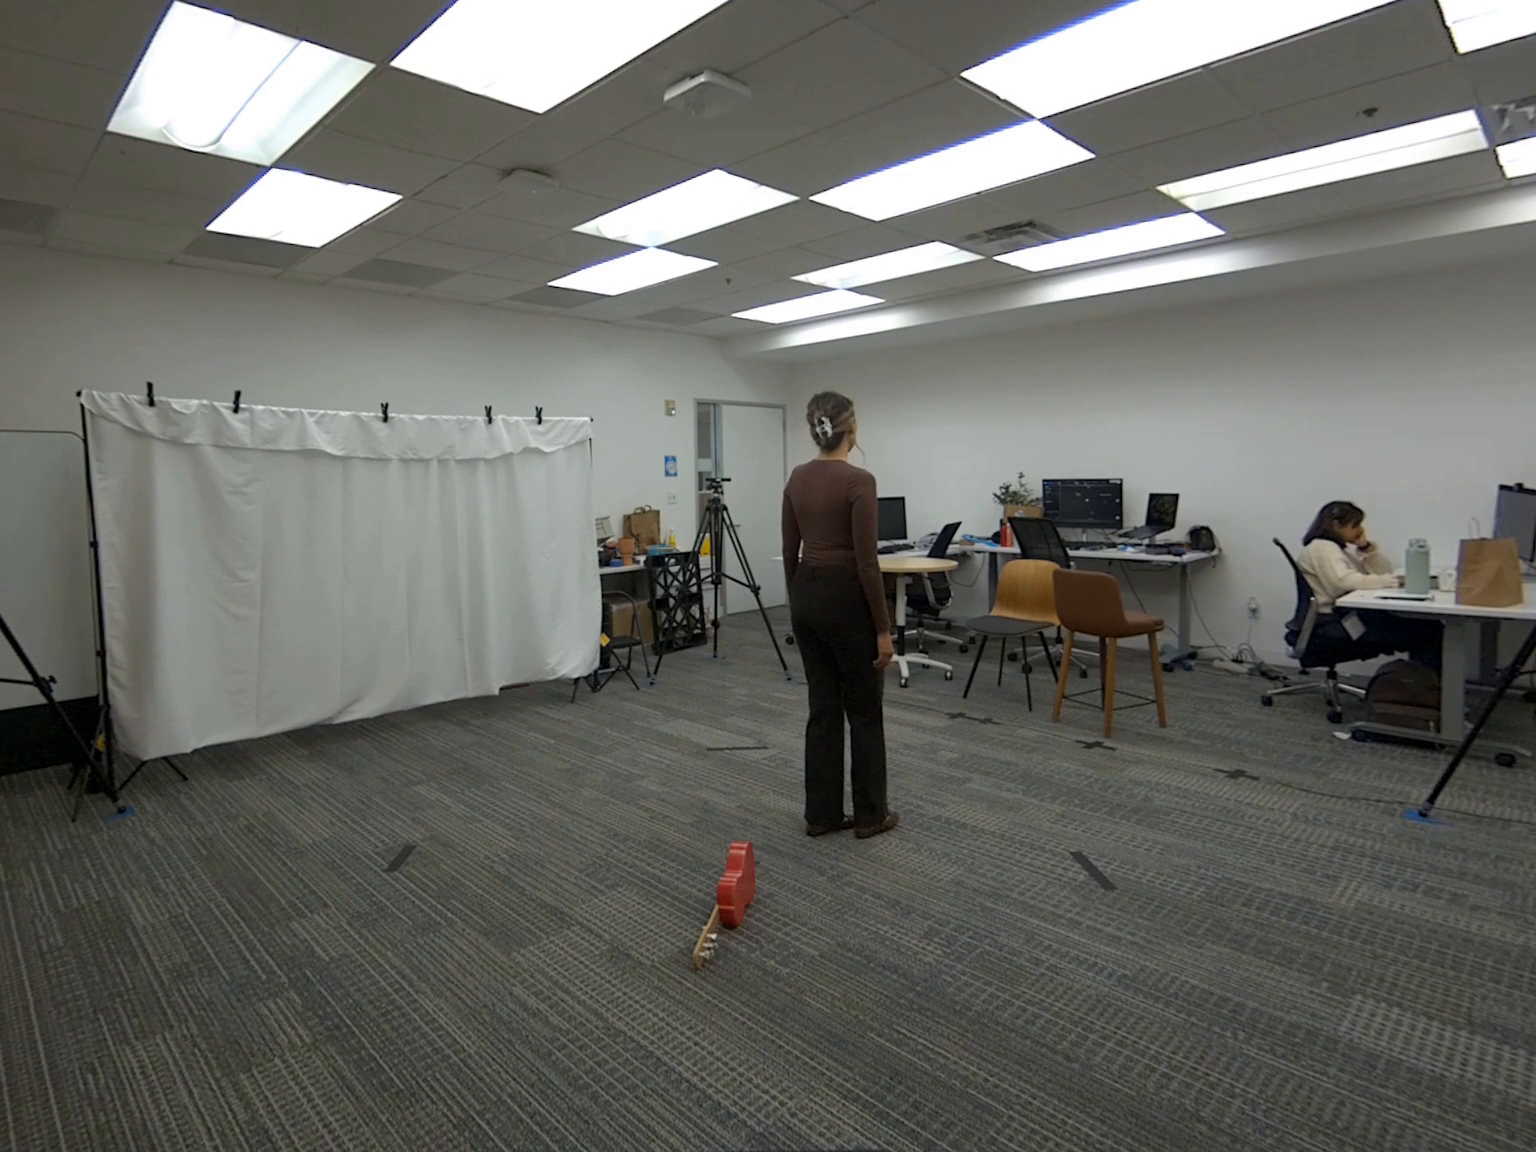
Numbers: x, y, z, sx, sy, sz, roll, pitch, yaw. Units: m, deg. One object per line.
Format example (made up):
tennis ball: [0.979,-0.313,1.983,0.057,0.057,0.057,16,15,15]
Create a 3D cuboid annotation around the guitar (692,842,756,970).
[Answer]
guitar: [-0.127,1.046,2.666,0.072,0.189,0.501,-1,24,14]
